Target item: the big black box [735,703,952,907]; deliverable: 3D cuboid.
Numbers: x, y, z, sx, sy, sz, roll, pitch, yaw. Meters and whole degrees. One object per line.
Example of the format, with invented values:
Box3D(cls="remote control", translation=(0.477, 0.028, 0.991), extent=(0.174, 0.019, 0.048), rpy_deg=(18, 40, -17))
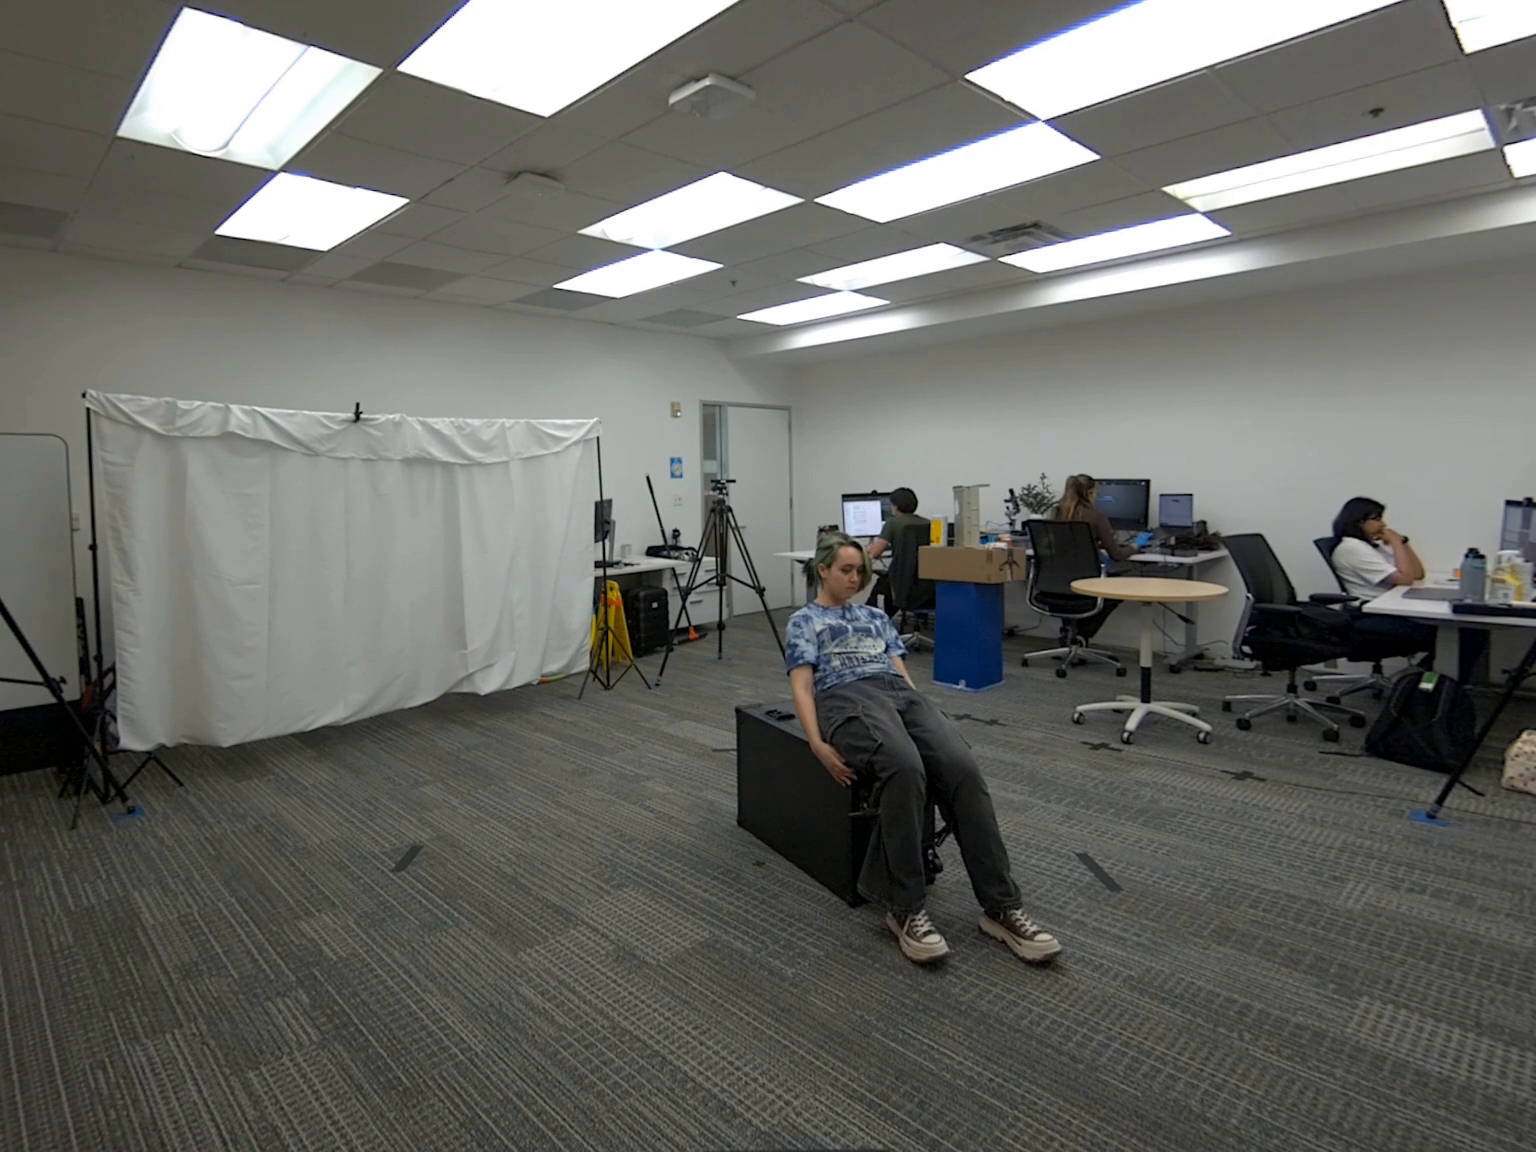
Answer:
Box3D(cls="big black box", translation=(0.245, 0.794, 3.163), extent=(0.387, 0.519, 0.885), rpy_deg=(-4, 7, -28))
